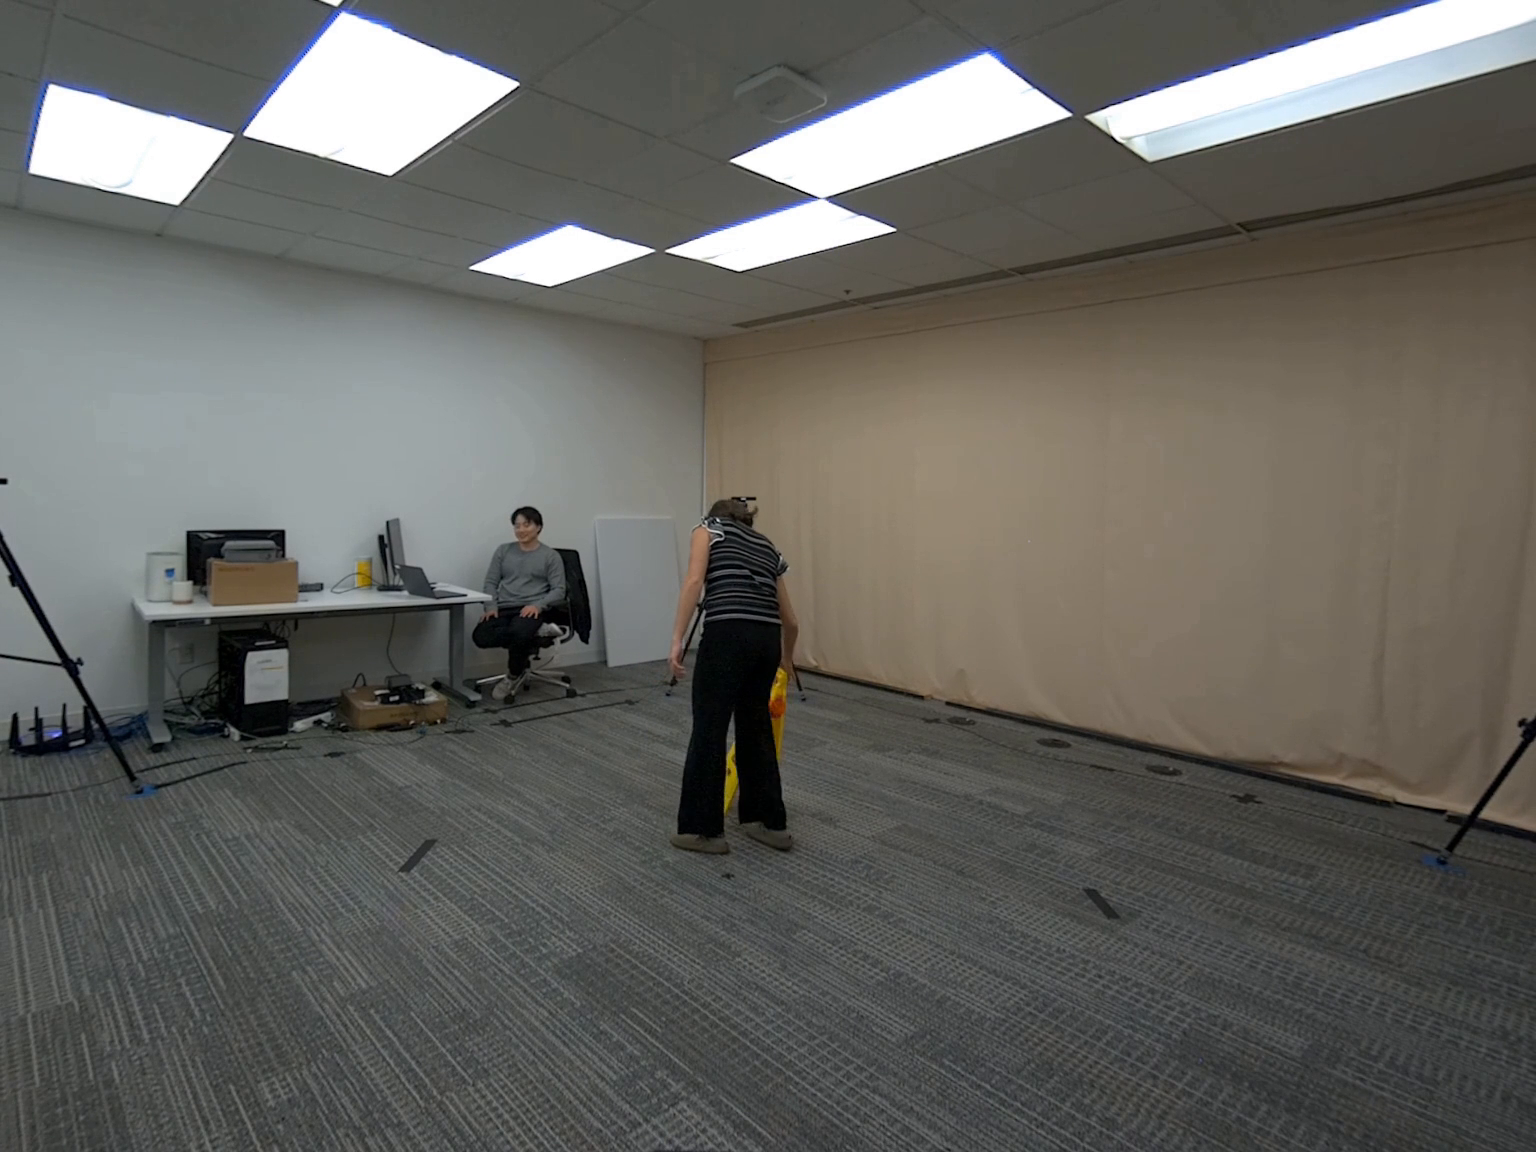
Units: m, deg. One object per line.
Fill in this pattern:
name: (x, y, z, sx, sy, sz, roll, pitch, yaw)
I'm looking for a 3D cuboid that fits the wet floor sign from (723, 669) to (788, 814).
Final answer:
wet floor sign: (-0.037, 0.719, 3.676, 0.286, 0.646, 0.285, 16, 1, -13)
